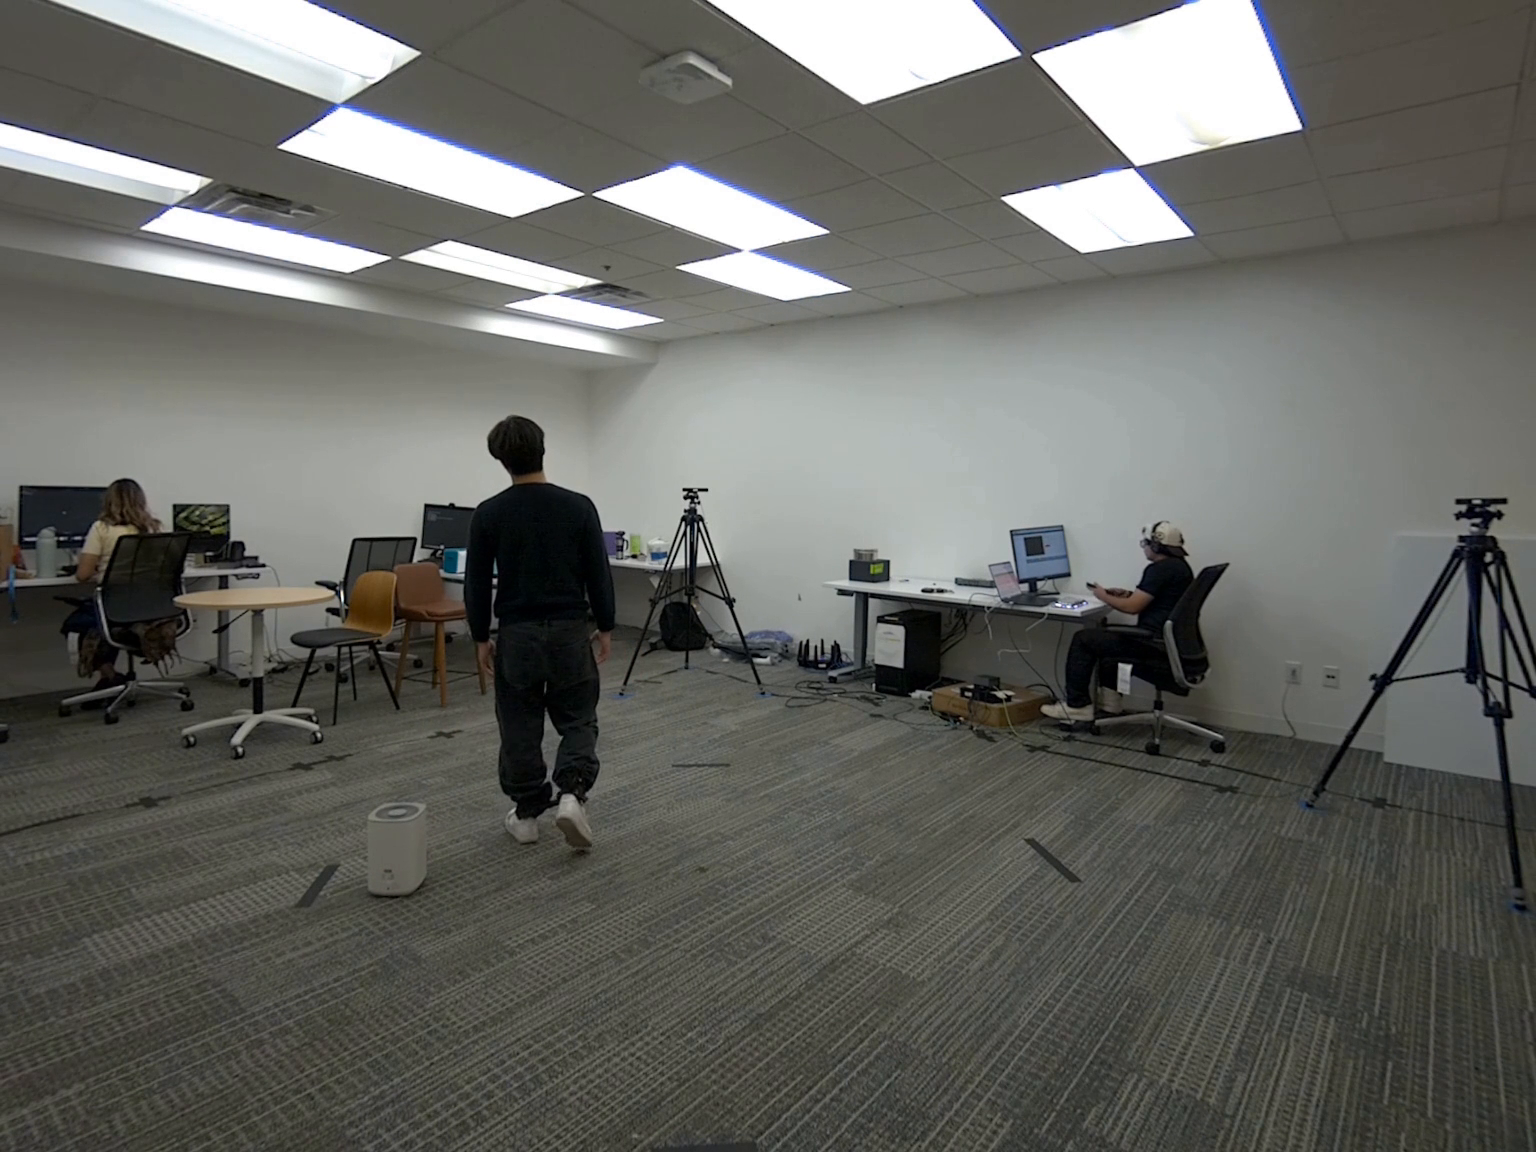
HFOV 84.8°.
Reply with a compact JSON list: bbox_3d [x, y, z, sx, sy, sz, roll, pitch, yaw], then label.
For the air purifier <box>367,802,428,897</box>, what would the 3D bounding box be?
[{"bbox_3d":[-1.302,0.945,2.922,0.171,0.265,0.172,2,3,-2],"label":"air purifier"}]
